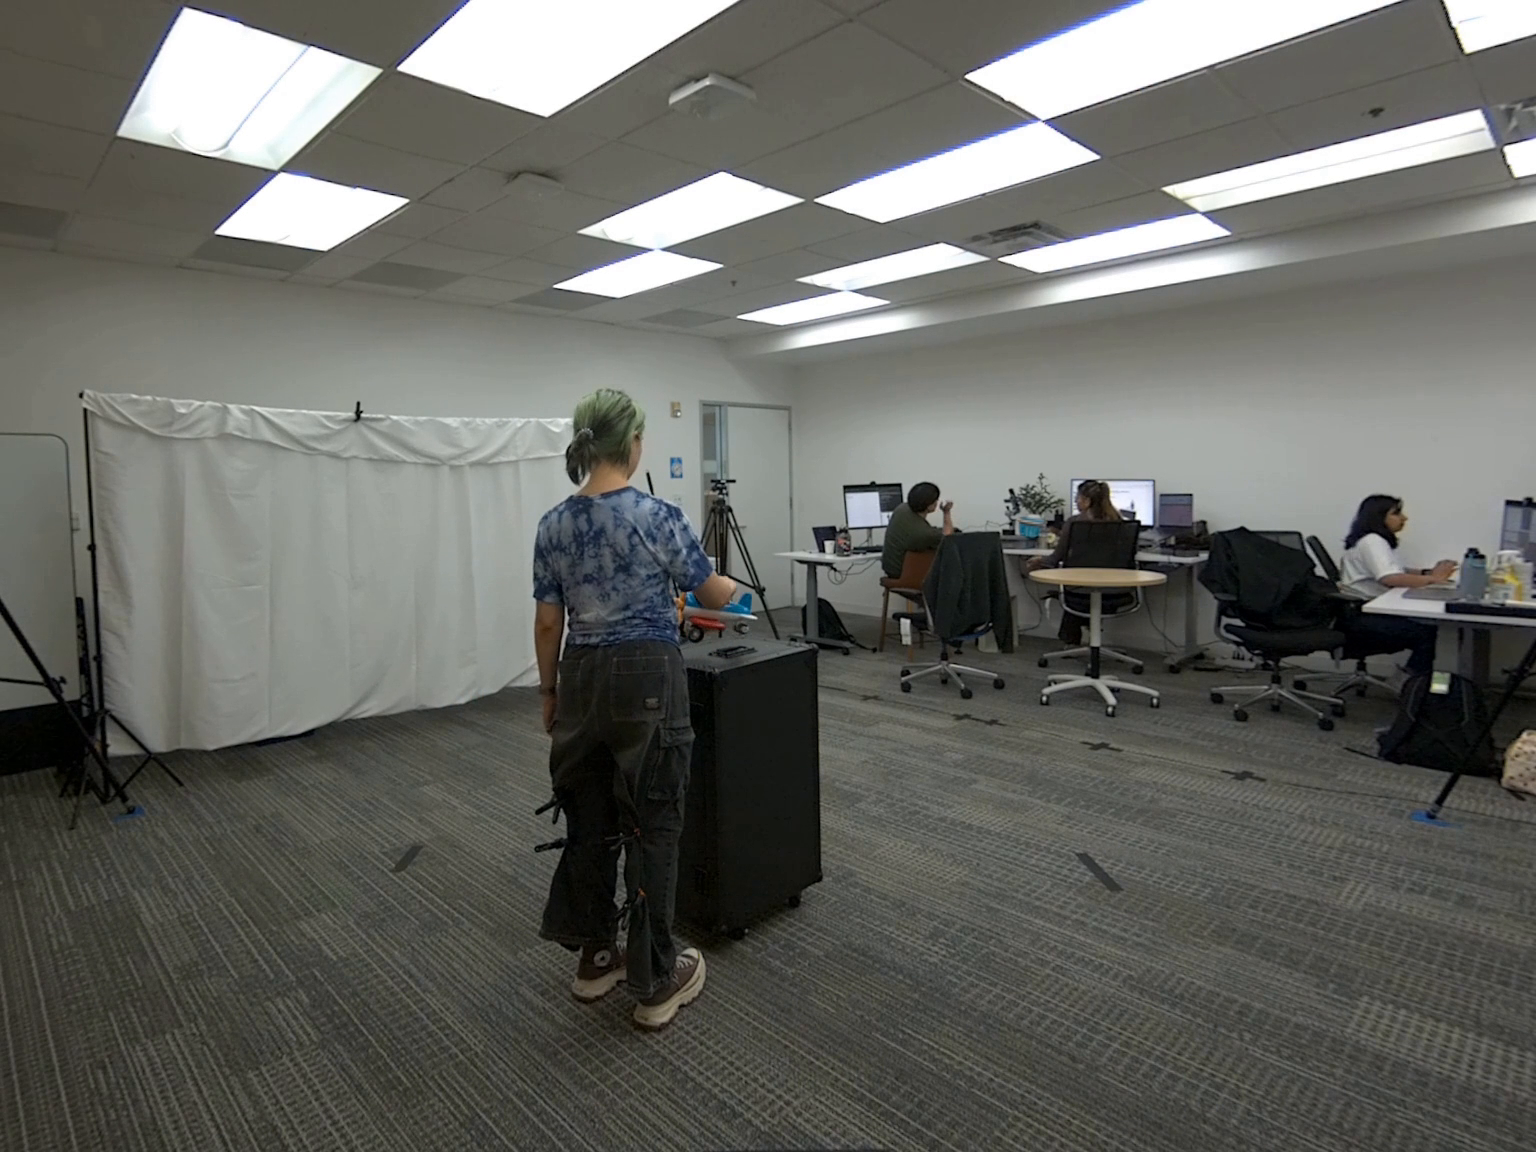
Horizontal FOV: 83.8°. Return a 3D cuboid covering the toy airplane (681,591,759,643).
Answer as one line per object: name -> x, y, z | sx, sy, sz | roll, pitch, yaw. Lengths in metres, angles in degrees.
toy airplane -> -0.178, 0.115, 2.708 | 0.258, 0.155, 0.253 | 4, 10, 37
